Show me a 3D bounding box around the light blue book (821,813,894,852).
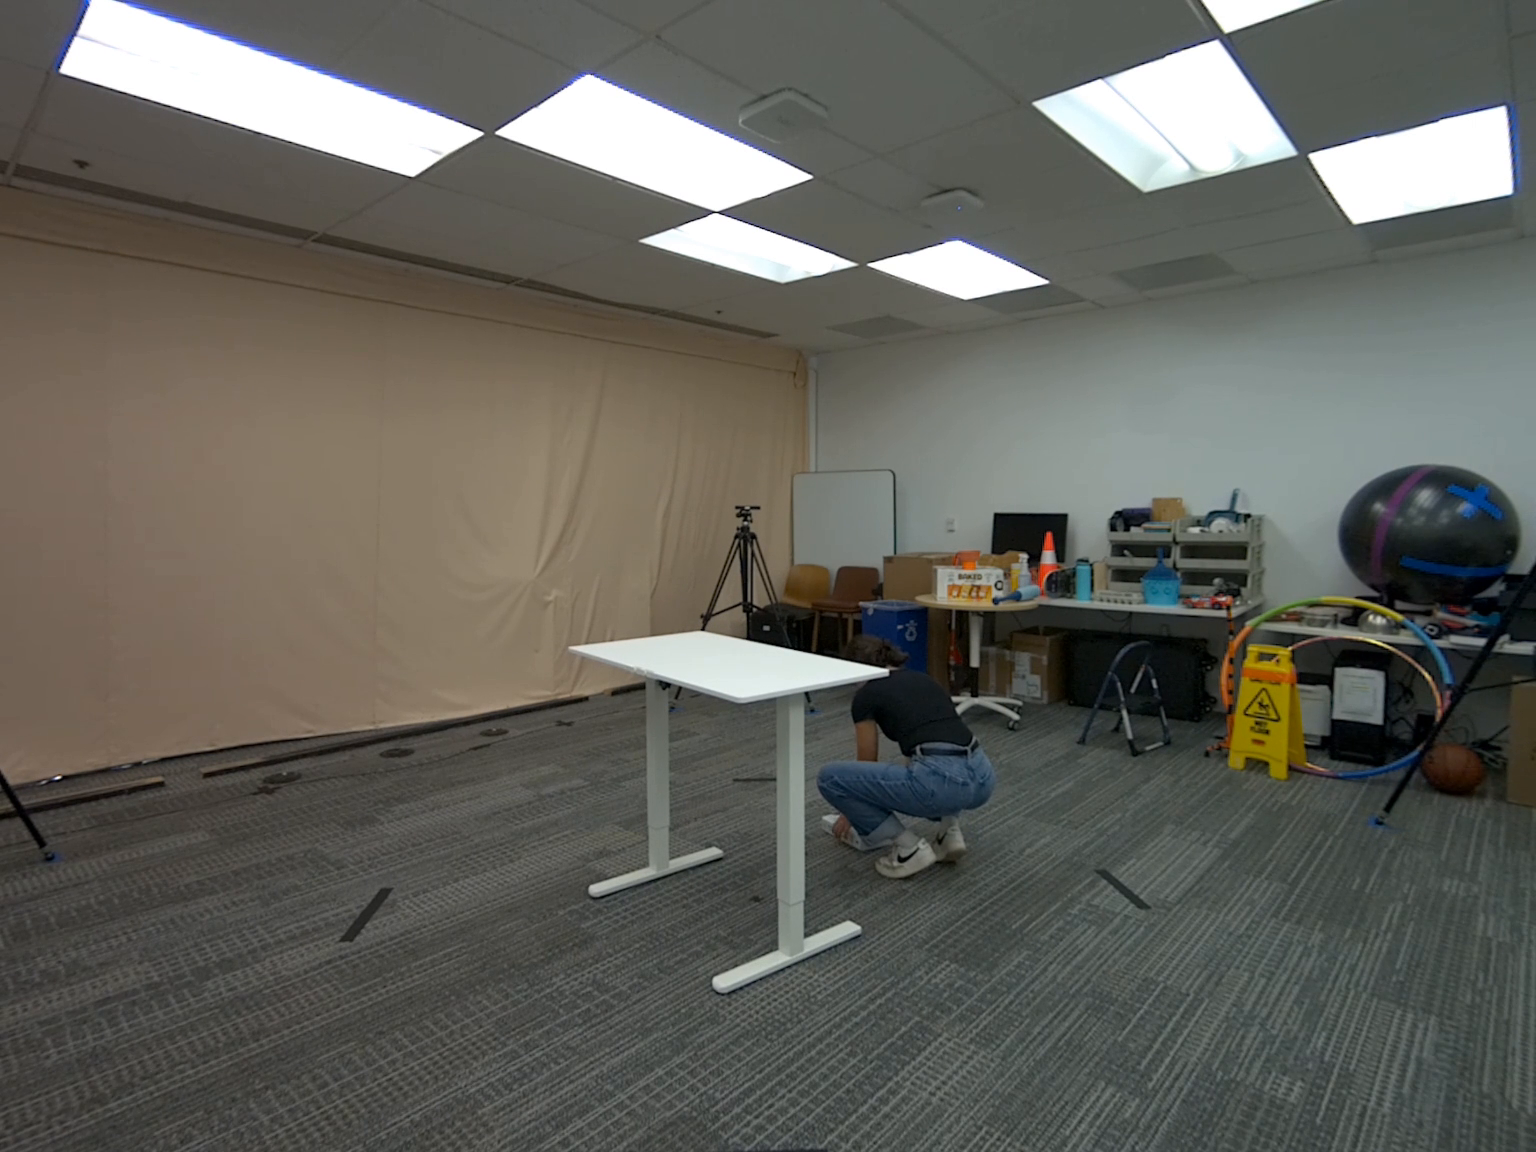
[{"bbox_3d":[0.385,1.070,3.553,0.186,0.059,0.269,-2,5,-32],"label":"light blue book"}]
